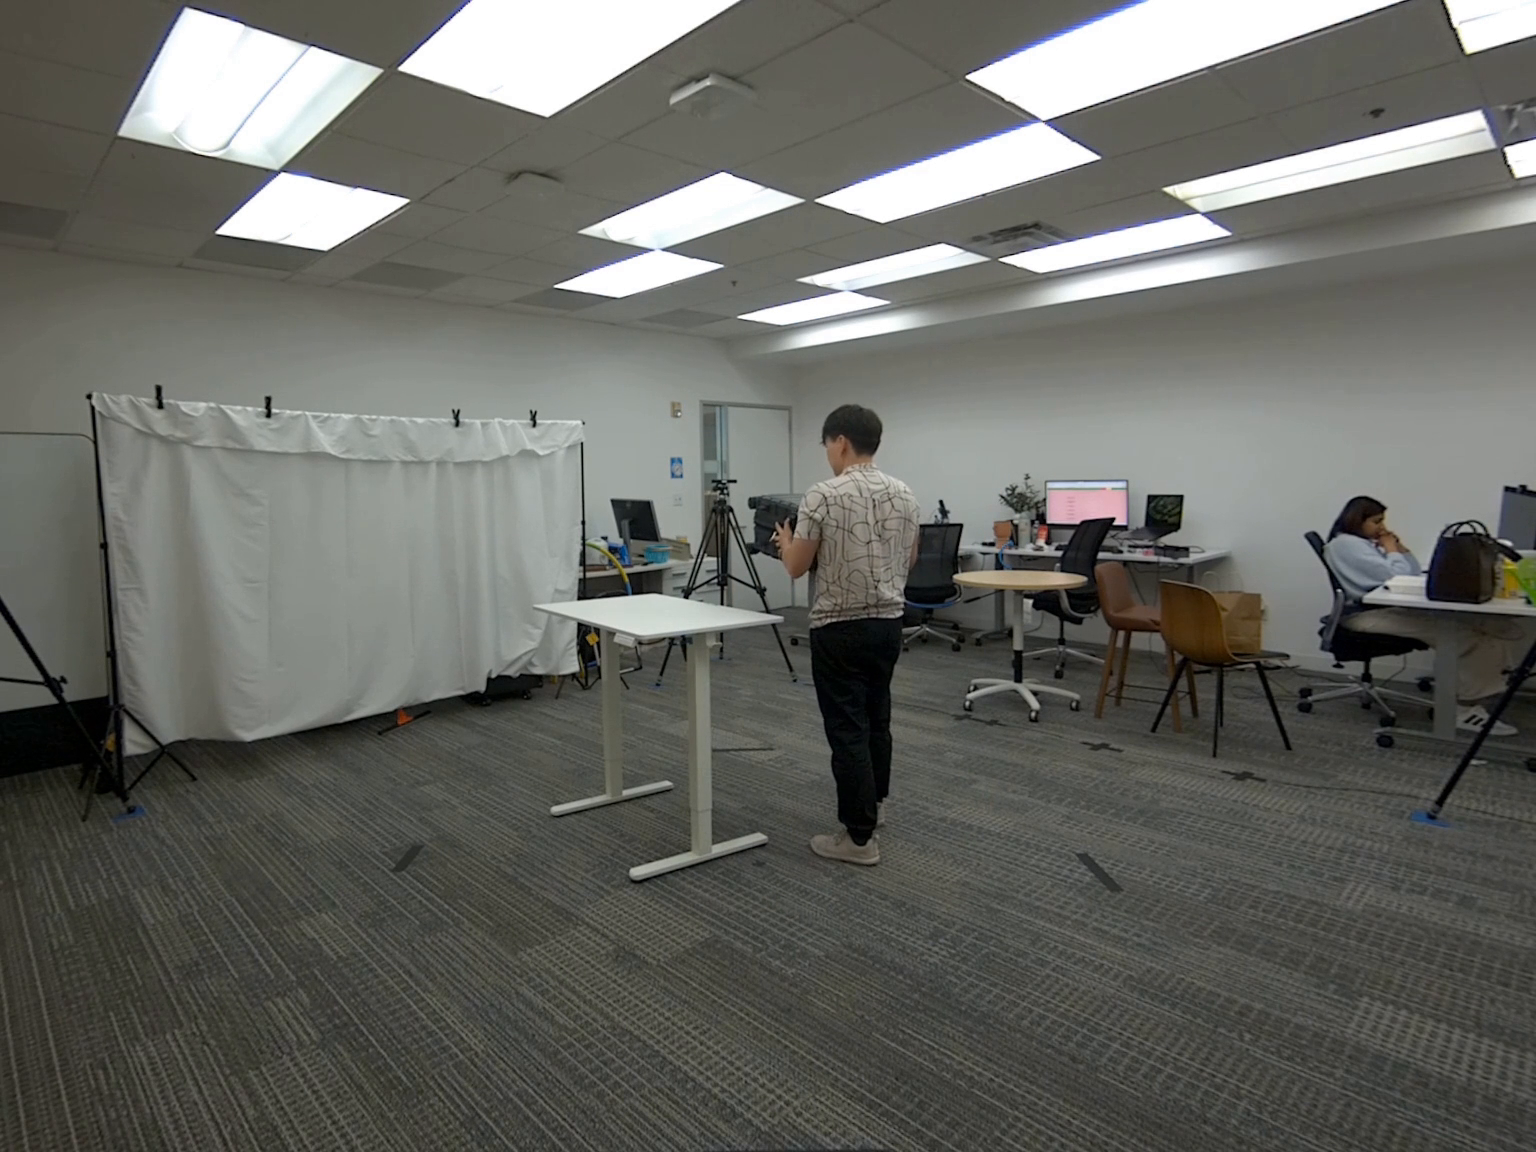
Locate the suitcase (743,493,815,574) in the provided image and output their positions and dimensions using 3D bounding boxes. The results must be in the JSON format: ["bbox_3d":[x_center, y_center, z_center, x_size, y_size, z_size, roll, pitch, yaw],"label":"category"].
[{"bbox_3d":[0.192,-0.192,3.580,0.367,0.246,0.566,-2,11,-27],"label":"suitcase"}]
